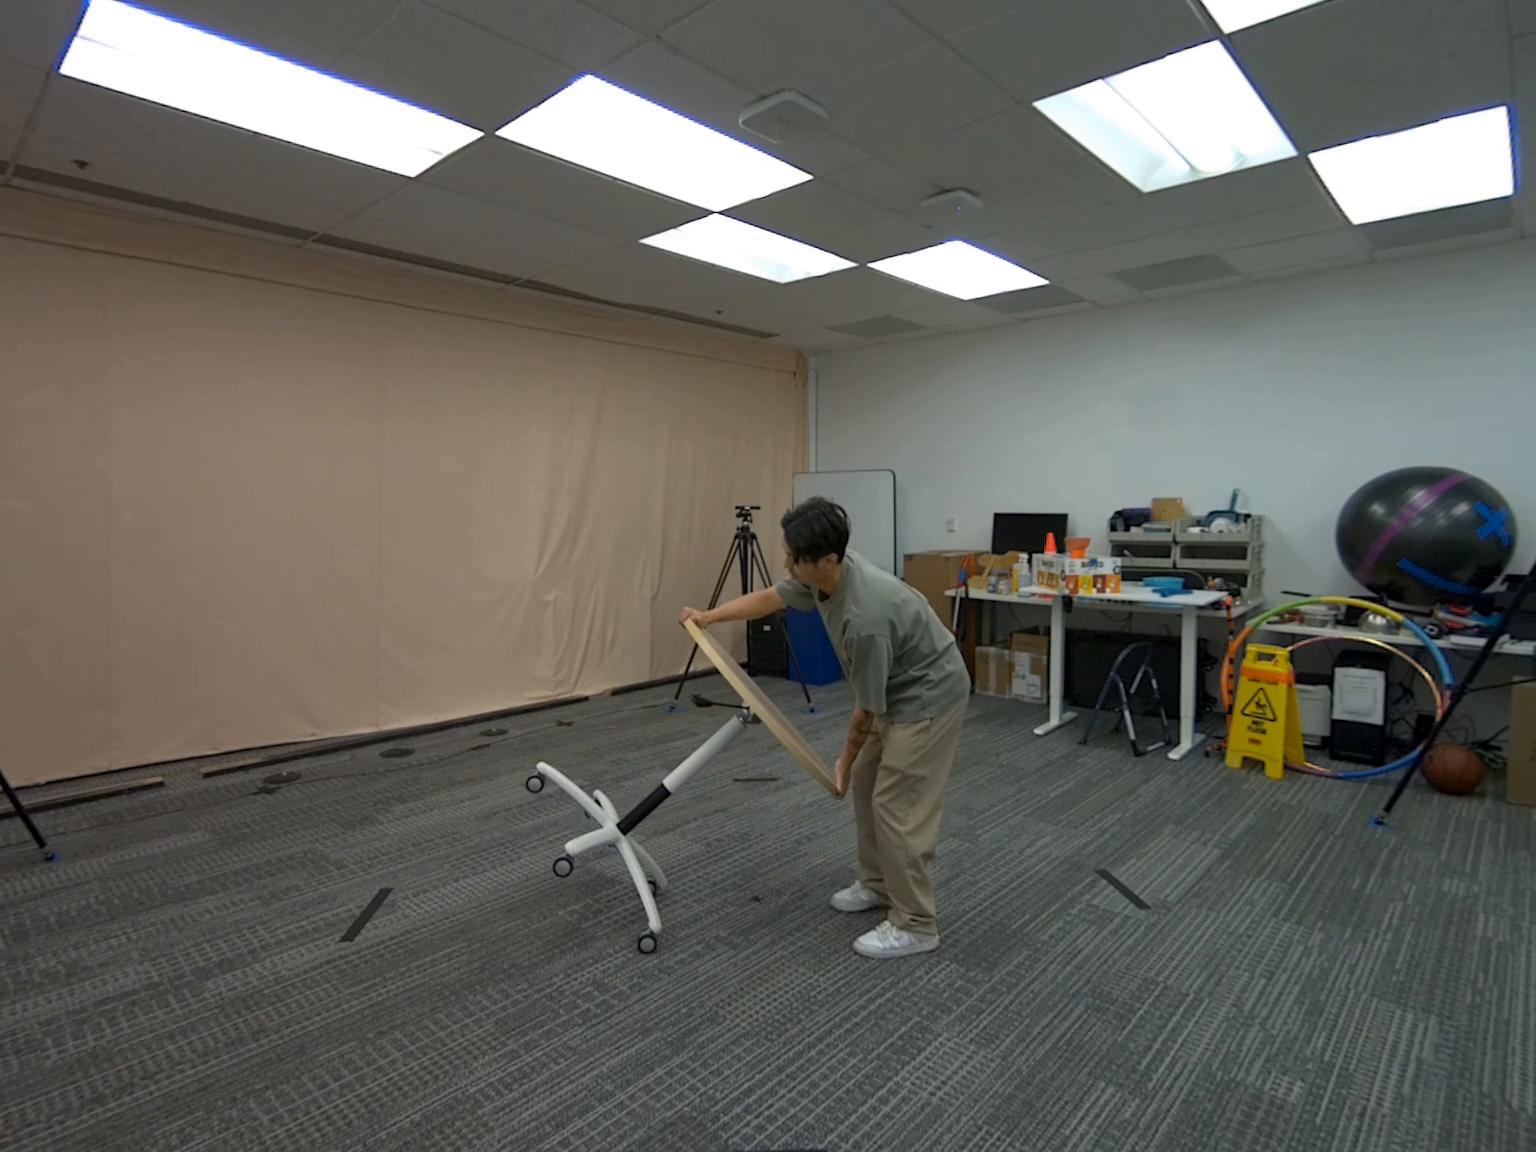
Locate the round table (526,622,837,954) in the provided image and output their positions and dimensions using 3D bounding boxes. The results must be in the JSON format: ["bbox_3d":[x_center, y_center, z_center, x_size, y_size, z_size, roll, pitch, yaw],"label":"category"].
[{"bbox_3d":[-0.309,0.682,2.837,0.785,0.778,0.793,-42,8,-3],"label":"round table"}]
